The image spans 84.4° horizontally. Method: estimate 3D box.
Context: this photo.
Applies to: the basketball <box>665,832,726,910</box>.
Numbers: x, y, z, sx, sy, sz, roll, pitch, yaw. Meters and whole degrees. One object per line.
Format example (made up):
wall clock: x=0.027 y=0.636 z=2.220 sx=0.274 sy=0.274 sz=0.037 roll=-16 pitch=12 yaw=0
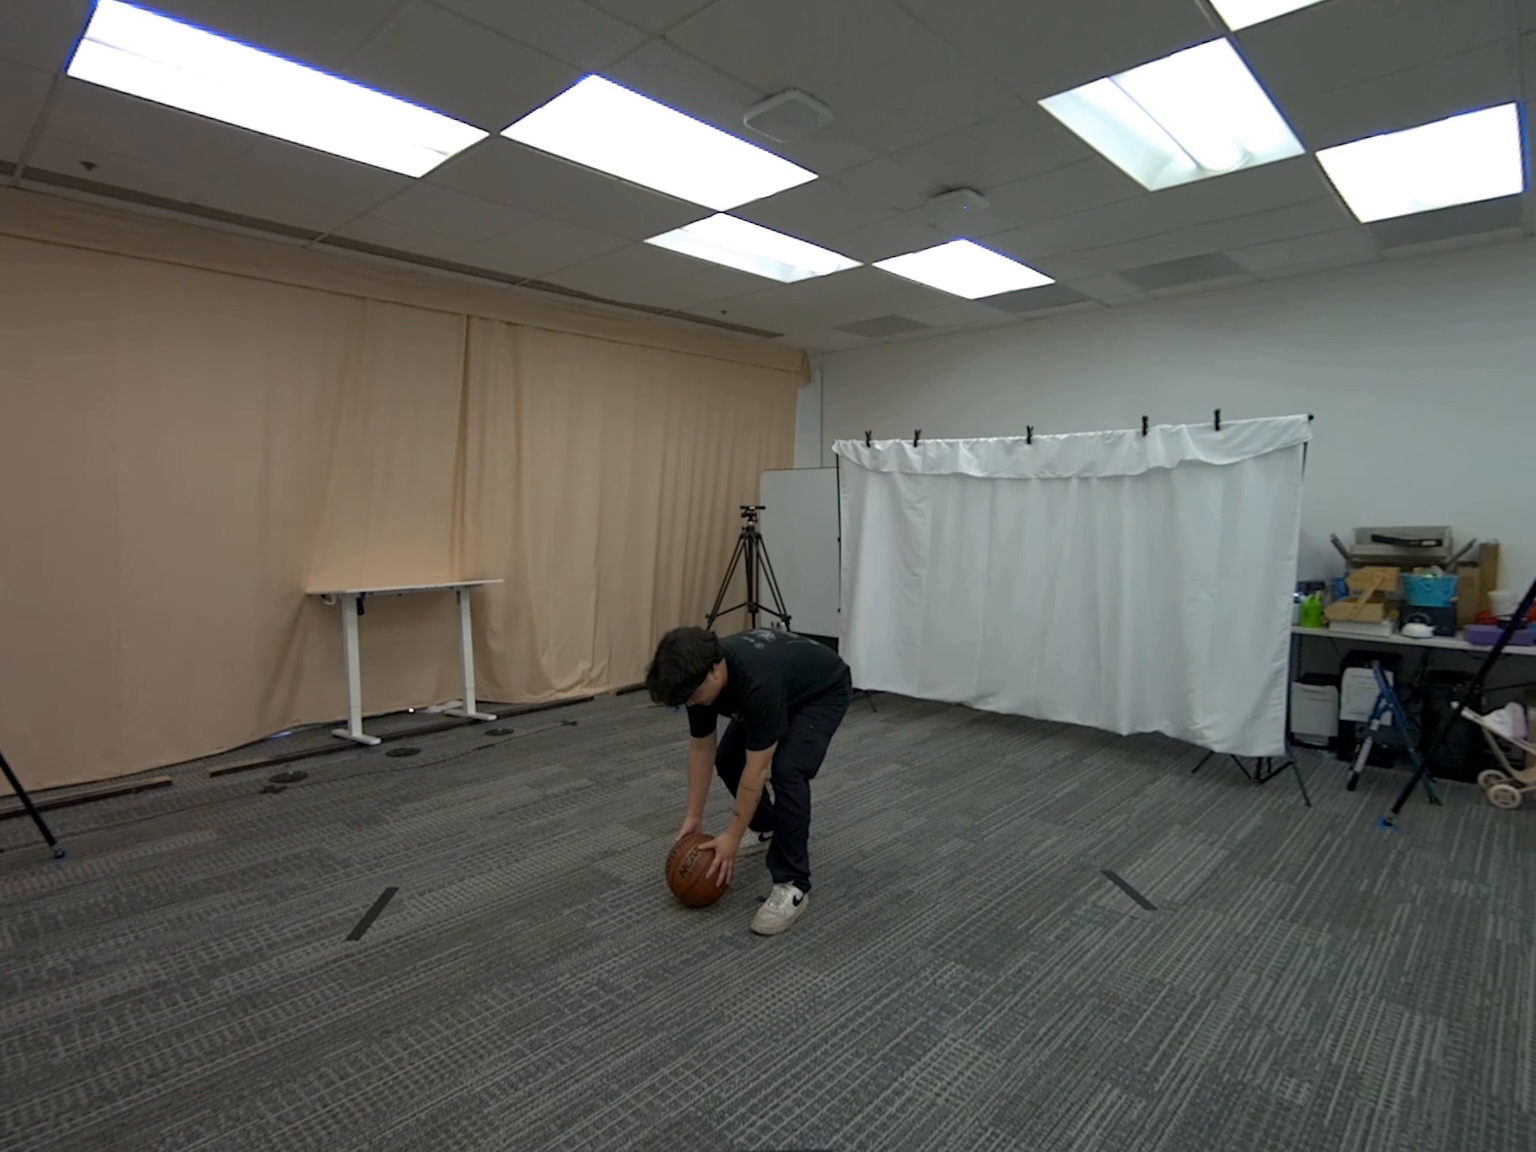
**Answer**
basketball: x=-0.246 y=1.027 z=2.954 sx=0.236 sy=0.235 sz=0.237 roll=0 pitch=4 yaw=-2
